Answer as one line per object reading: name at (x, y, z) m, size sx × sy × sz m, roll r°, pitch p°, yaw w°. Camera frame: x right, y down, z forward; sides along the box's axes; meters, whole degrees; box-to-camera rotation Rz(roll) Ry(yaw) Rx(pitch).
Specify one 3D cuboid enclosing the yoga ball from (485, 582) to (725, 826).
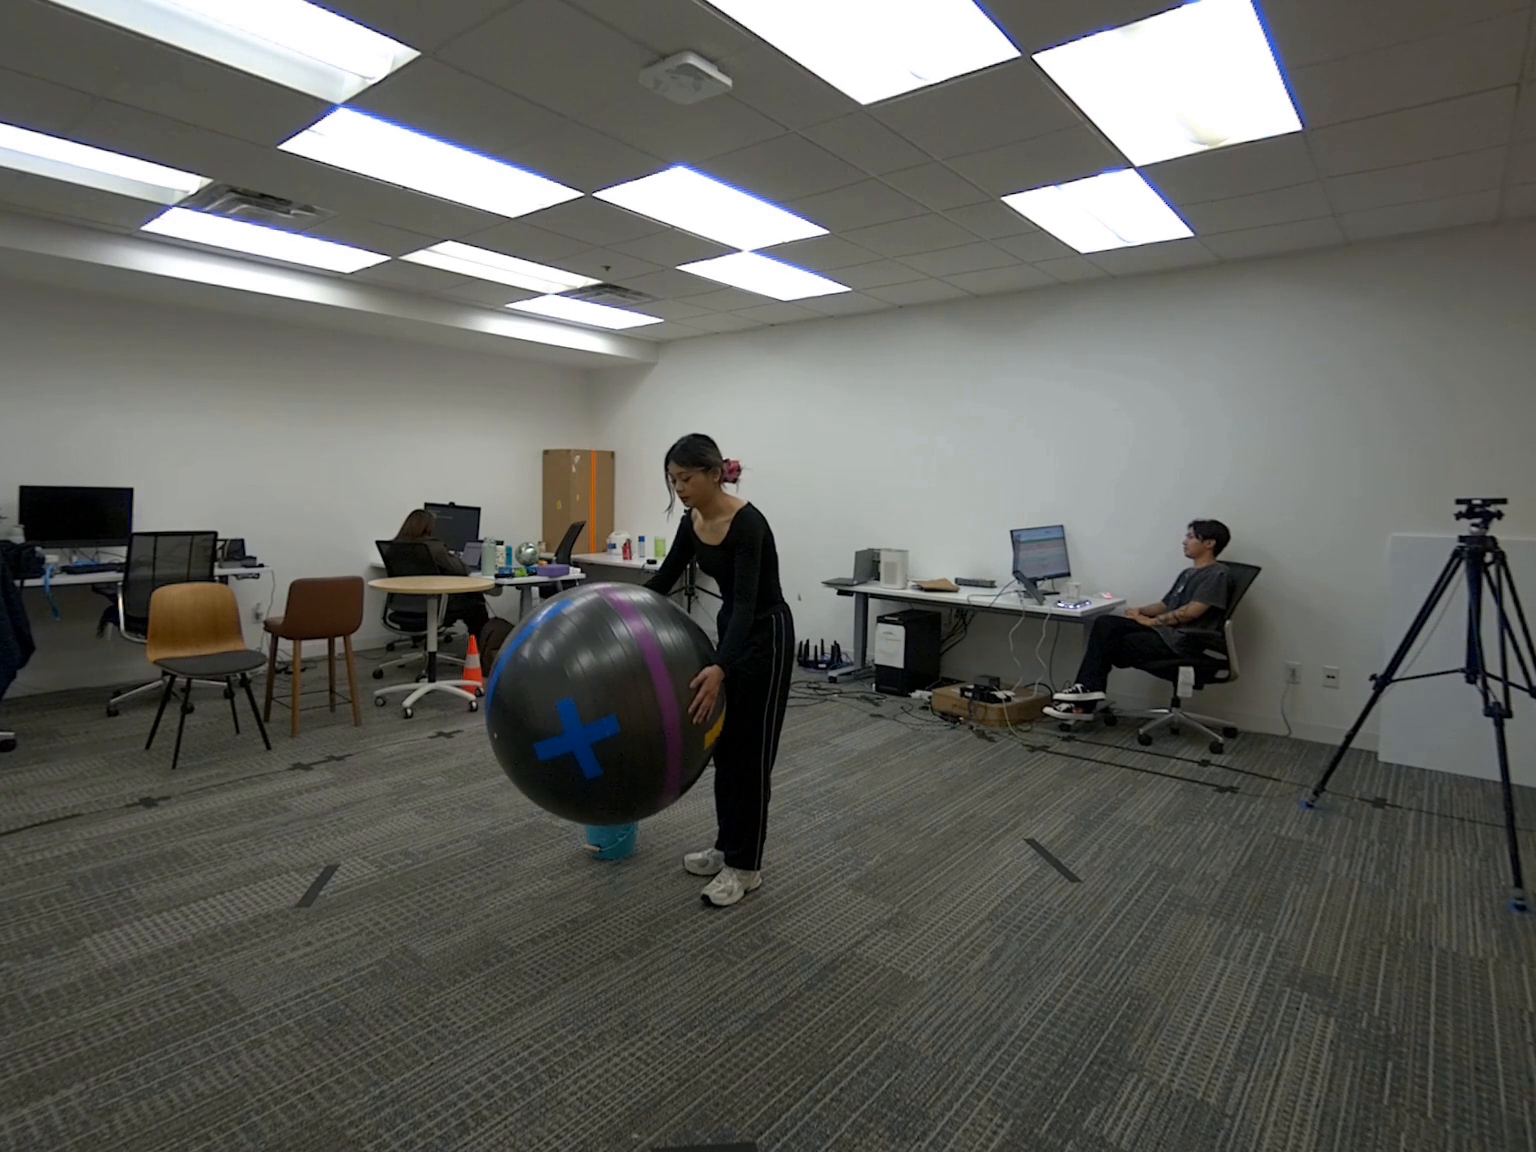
yoga ball at (-0.529, 0.399, 2.723) m, size 0.757 × 0.755 × 0.762 m, roll 1°, pitch 4°, yaw -2°
